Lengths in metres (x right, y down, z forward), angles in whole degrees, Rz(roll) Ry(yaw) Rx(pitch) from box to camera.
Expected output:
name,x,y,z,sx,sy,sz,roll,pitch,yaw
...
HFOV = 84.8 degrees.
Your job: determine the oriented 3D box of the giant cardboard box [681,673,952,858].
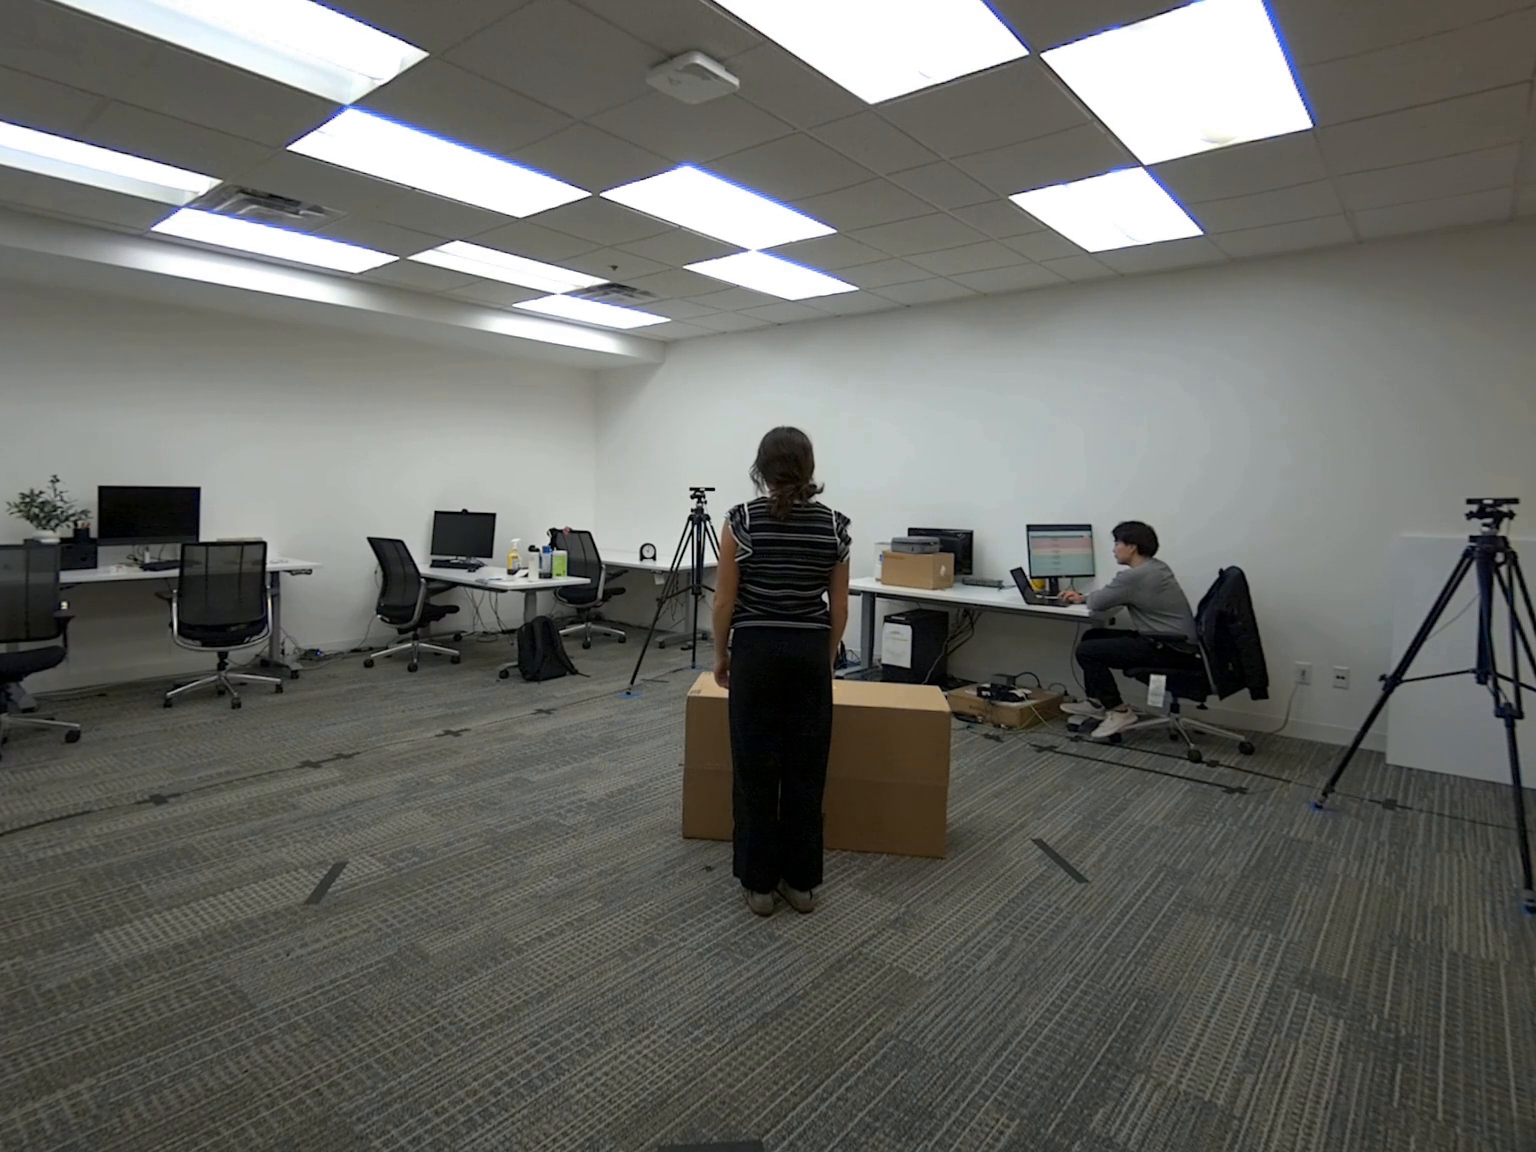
name,x,y,z,sx,sy,sz,roll,pitch,yaw
giant cardboard box,0.185,0.749,3.500,1.034,0.575,0.424,2,4,7
